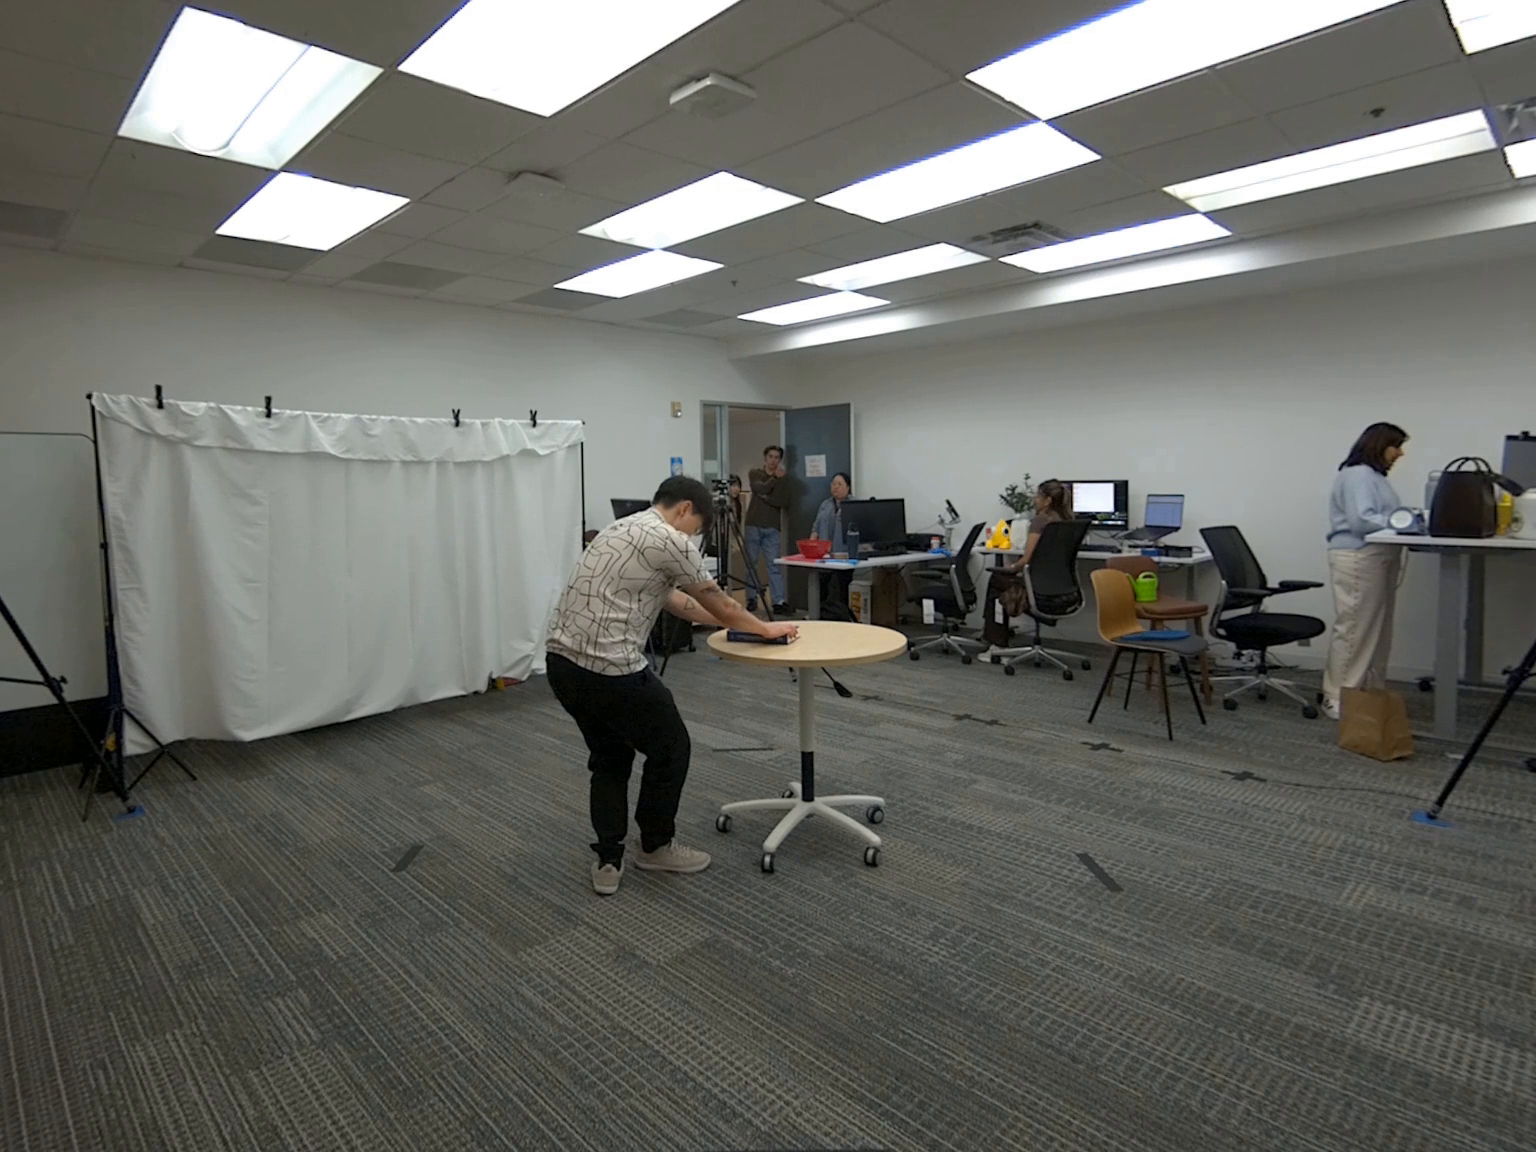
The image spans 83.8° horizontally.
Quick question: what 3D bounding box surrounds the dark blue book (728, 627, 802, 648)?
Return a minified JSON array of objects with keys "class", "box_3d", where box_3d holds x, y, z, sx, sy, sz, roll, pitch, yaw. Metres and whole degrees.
[{"class":"dark blue book","box_3d":[-0.012,0.228,3.301,0.250,0.045,0.161,1,8,19]}]
